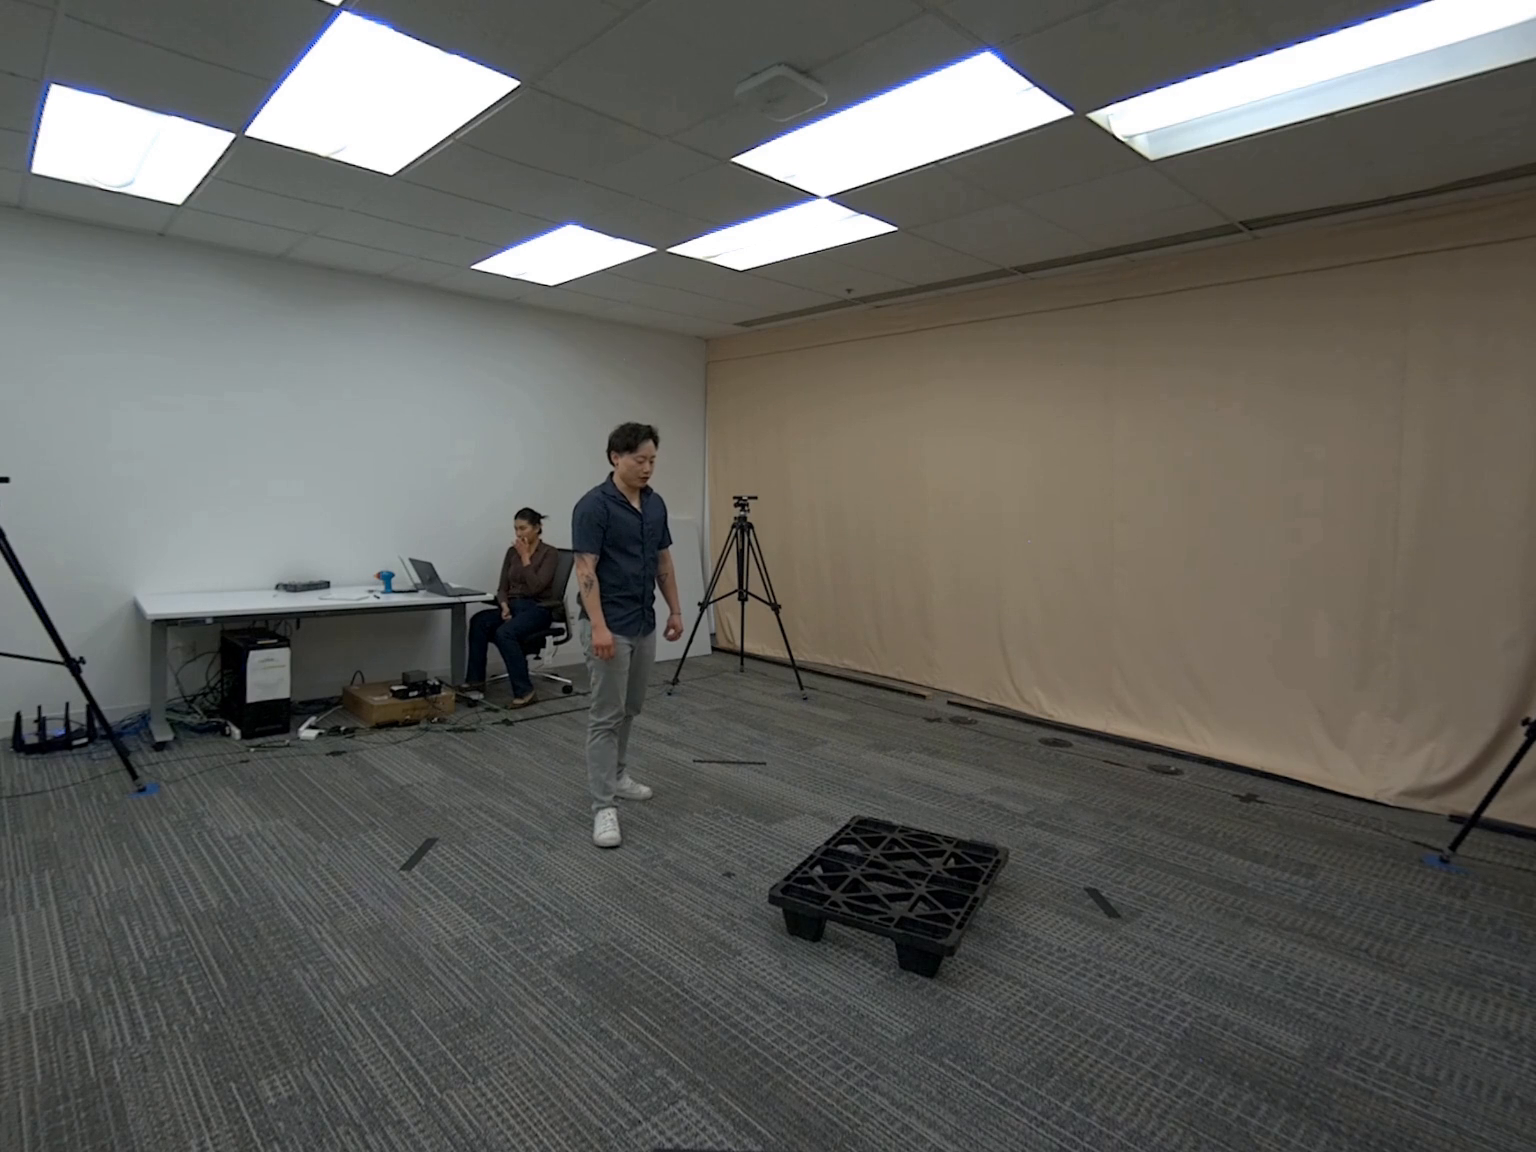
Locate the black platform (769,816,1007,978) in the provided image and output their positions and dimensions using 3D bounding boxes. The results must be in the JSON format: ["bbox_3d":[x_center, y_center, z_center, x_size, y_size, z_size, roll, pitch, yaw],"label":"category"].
[{"bbox_3d":[0.423,1.066,2.883,0.618,0.143,0.791,4,5,28],"label":"black platform"}]
